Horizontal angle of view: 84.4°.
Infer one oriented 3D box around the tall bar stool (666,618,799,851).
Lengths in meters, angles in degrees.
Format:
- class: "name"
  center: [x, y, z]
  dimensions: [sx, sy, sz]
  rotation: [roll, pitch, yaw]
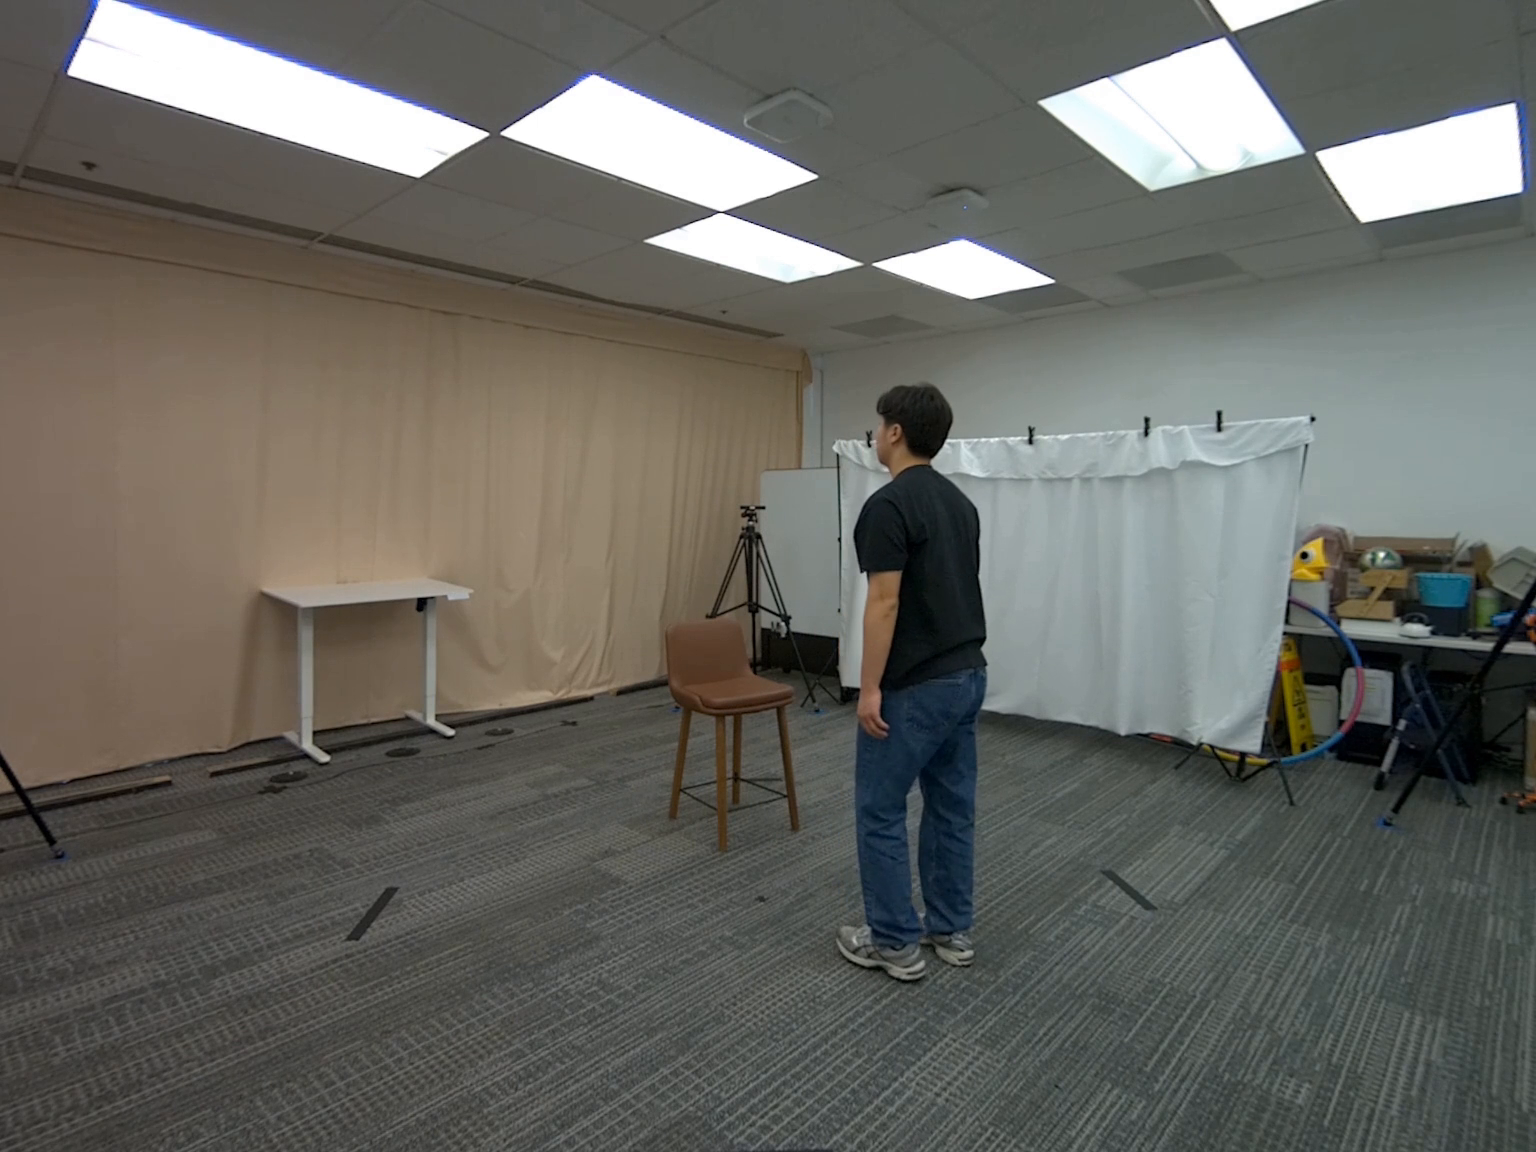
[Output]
- class: "tall bar stool"
  center: [-0.168, 0.651, 3.665]
  dimensions: [0.443, 0.889, 0.482]
  rotation: [-2, 2, -36]
